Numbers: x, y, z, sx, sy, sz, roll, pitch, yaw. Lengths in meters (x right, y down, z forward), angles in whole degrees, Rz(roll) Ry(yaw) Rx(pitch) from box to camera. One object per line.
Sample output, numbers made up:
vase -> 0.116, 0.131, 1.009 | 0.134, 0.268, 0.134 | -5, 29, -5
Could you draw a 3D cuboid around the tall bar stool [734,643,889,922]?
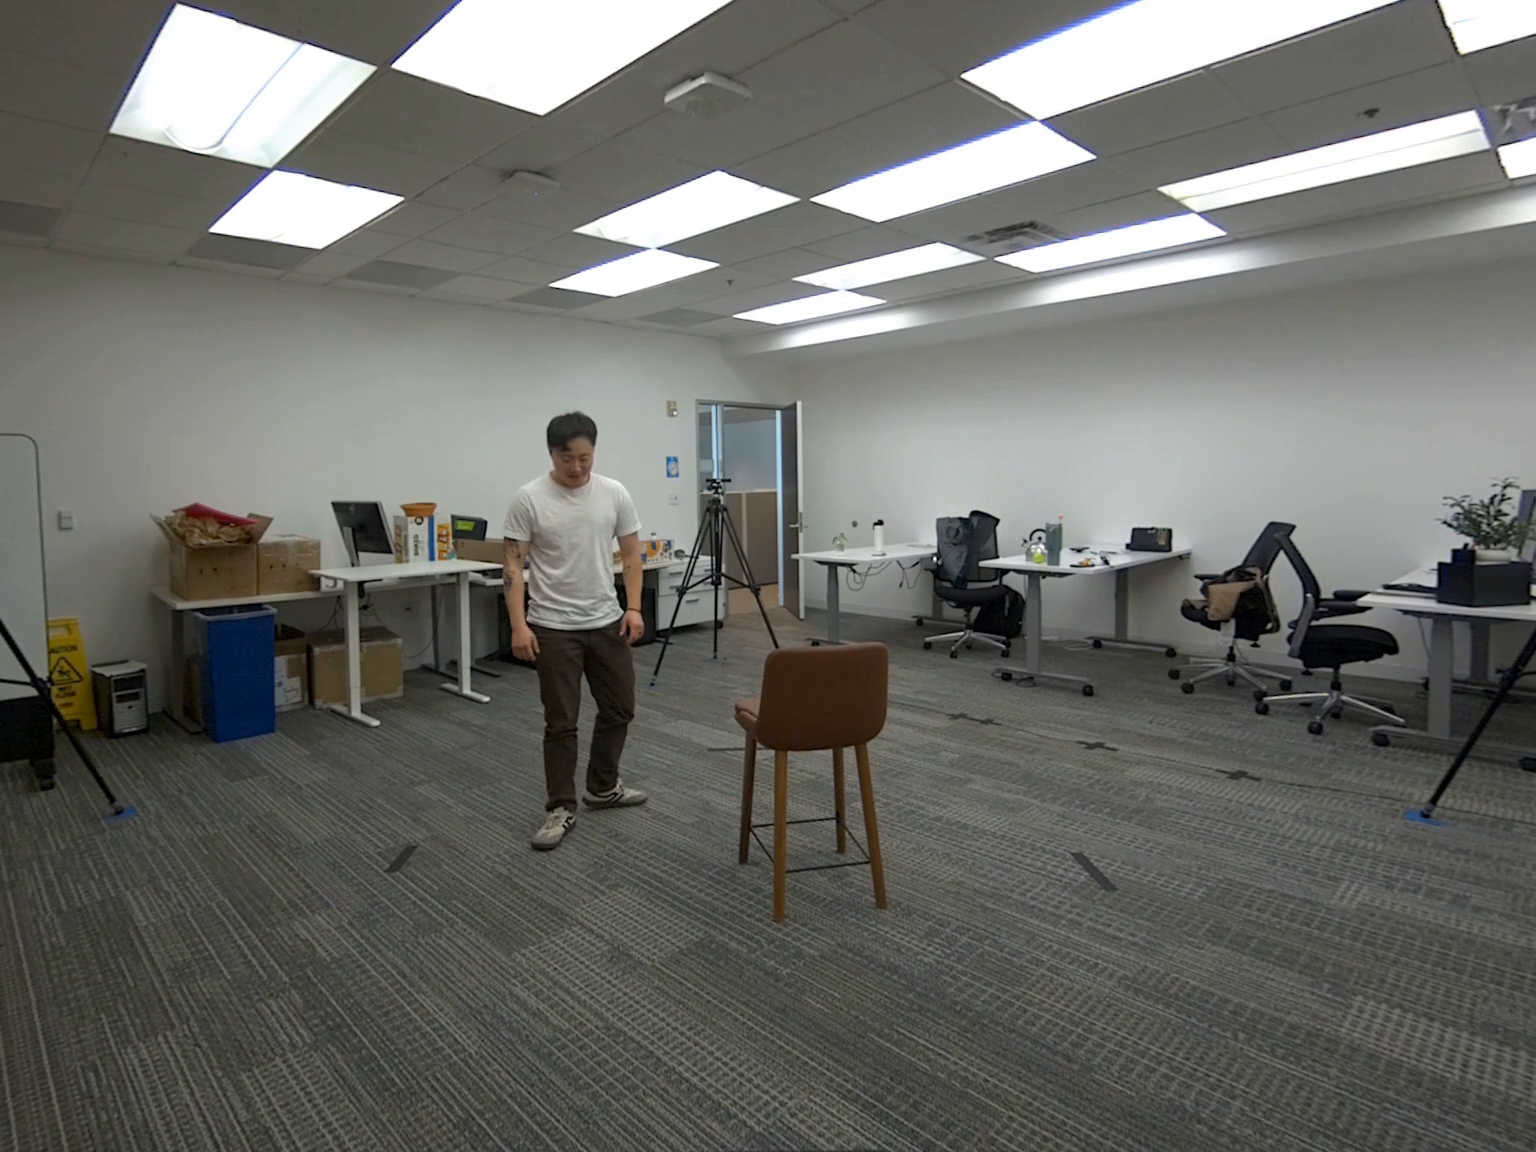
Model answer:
tall bar stool -> 0.143, 0.627, 2.913 | 0.451, 0.885, 0.476 | -2, 6, -14
